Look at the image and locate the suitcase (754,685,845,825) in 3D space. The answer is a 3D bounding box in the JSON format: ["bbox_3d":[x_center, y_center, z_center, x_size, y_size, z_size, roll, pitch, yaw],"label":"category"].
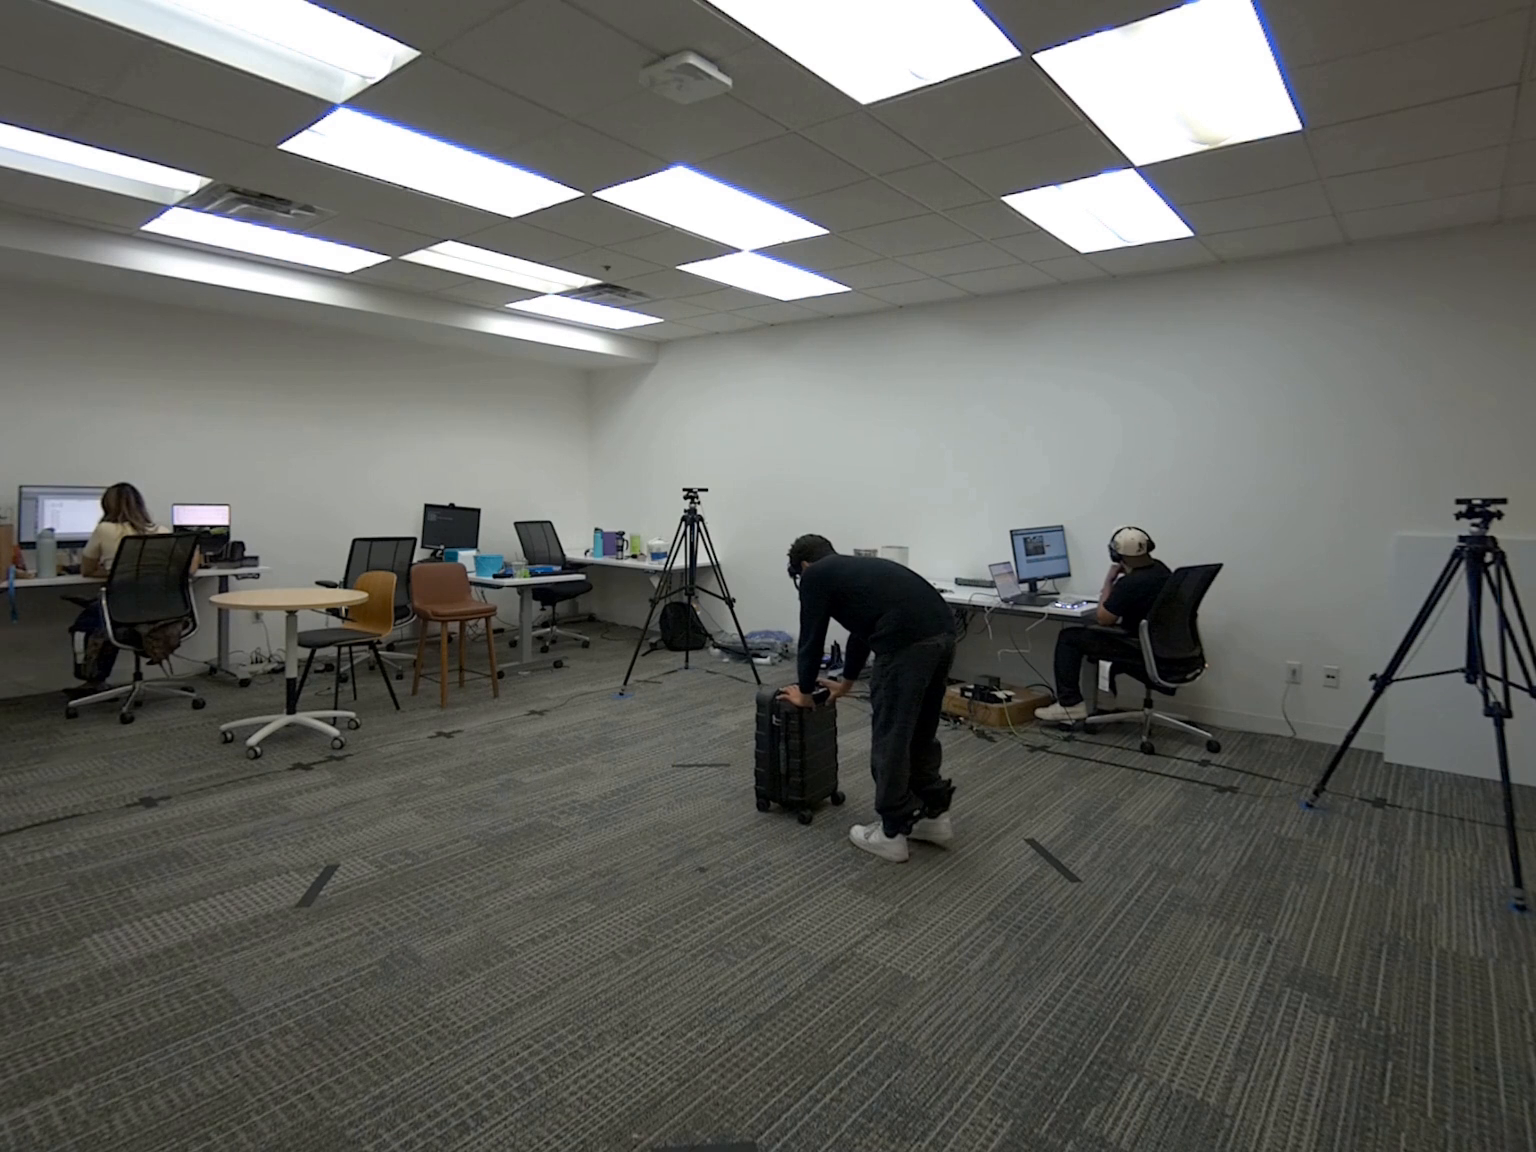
[{"bbox_3d":[0.118,0.739,3.750,0.256,0.548,0.365,0,3,37],"label":"suitcase"}]
